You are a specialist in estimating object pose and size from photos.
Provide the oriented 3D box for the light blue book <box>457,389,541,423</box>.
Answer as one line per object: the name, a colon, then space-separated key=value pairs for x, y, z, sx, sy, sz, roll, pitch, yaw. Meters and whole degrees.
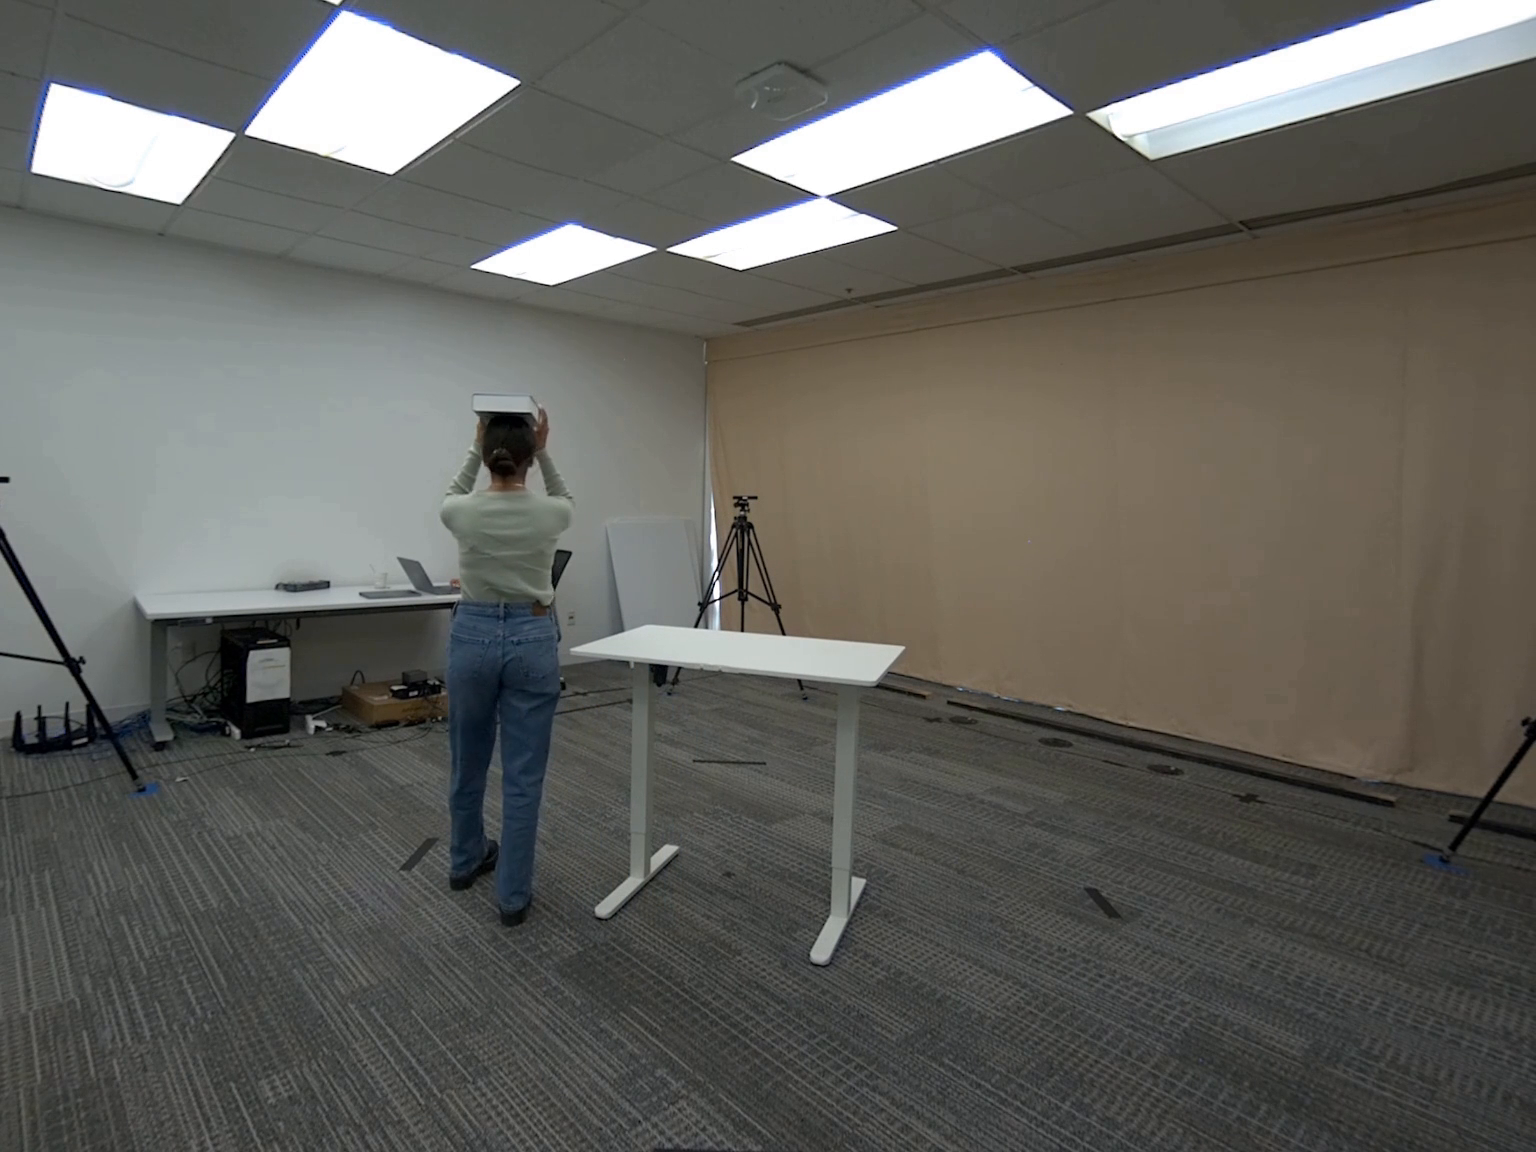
light blue book: x=-0.883 y=-0.556 z=2.792 sx=0.192 sy=0.059 sz=0.260 roll=-2 pitch=0 yaw=2
